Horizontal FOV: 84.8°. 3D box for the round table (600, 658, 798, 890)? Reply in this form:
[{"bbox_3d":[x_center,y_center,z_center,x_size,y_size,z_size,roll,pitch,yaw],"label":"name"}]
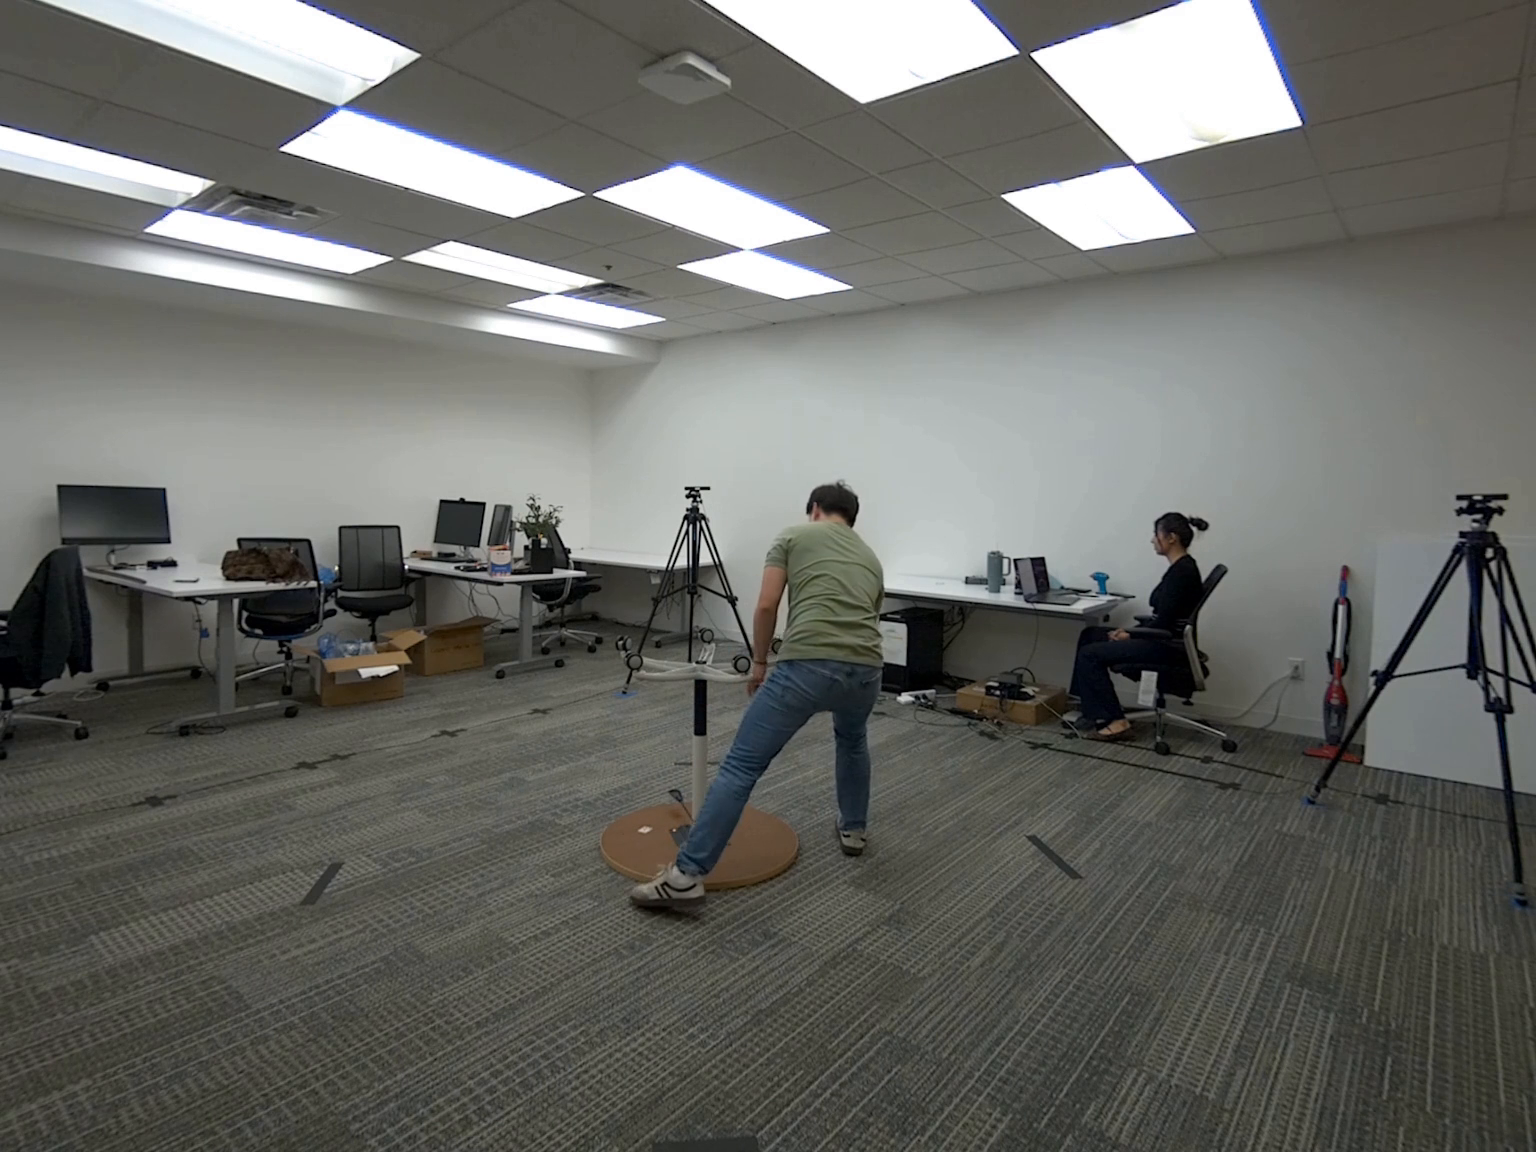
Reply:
[{"bbox_3d":[-0.272,0.647,3.300,0.763,0.791,0.768,0,4,-2],"label":"round table"}]
